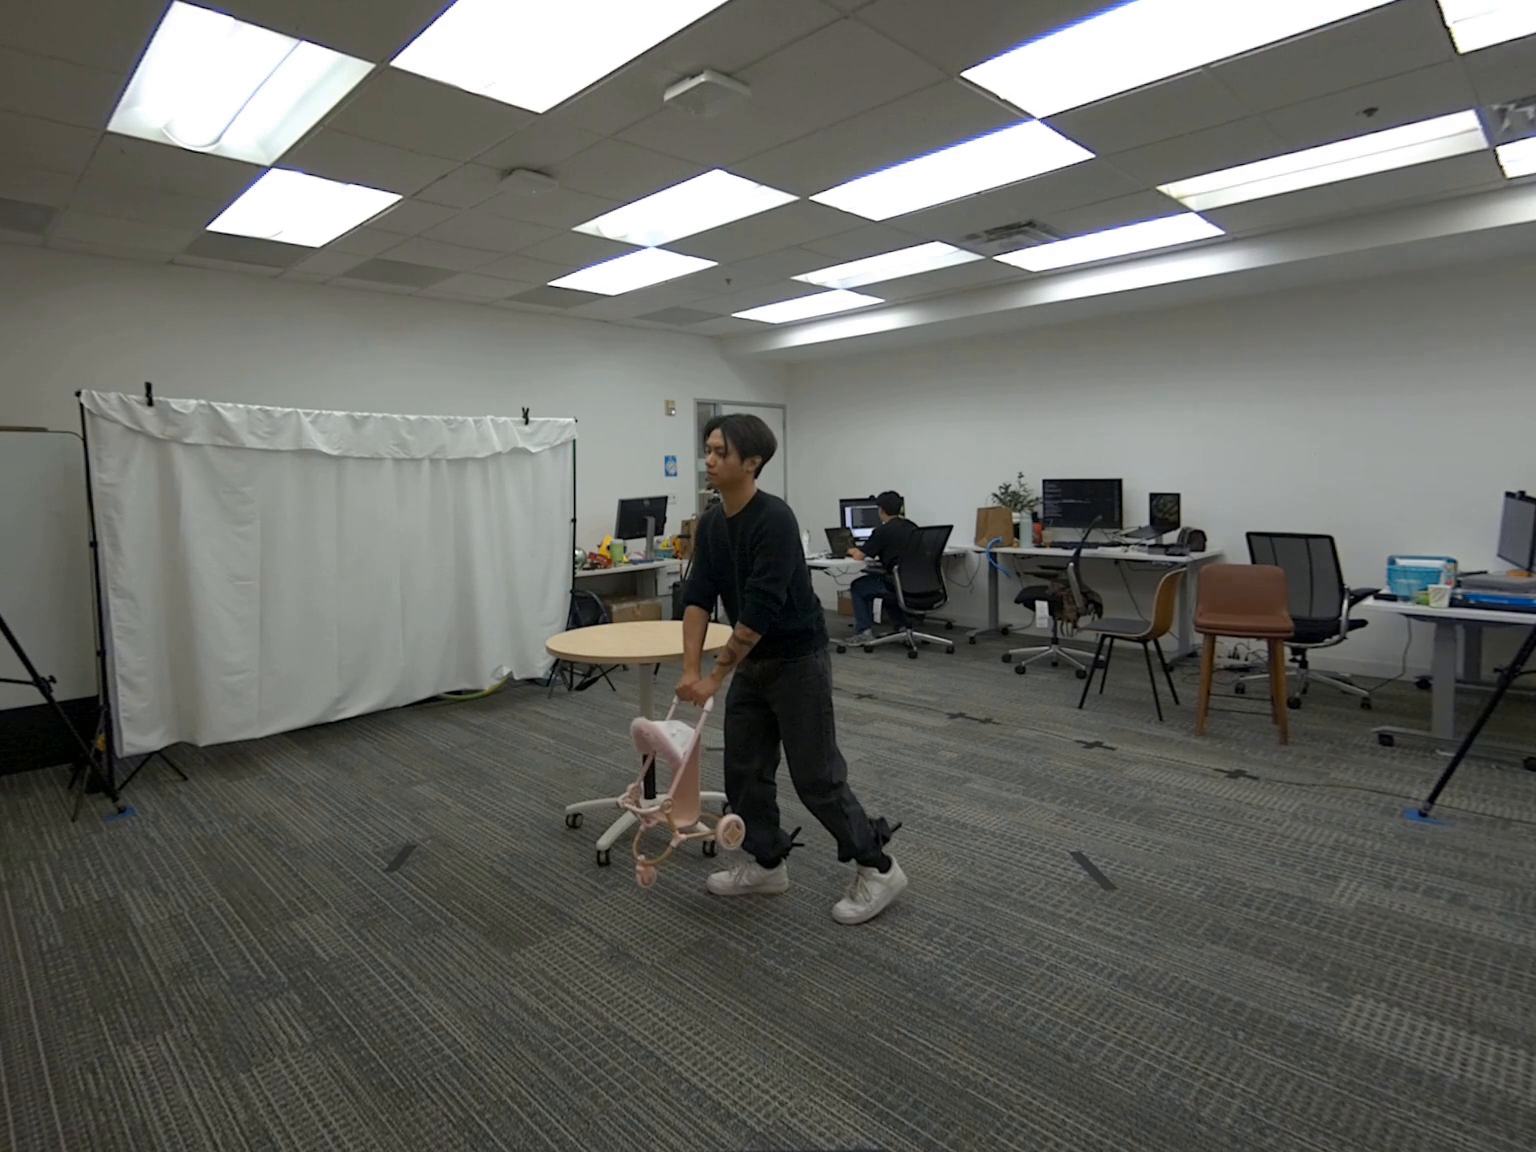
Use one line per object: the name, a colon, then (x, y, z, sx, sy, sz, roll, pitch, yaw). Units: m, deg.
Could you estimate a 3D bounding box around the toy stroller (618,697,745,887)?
toy stroller: (-0.295, 0.653, 2.624, 0.334, 0.532, 0.289, -12, 7, -32)
